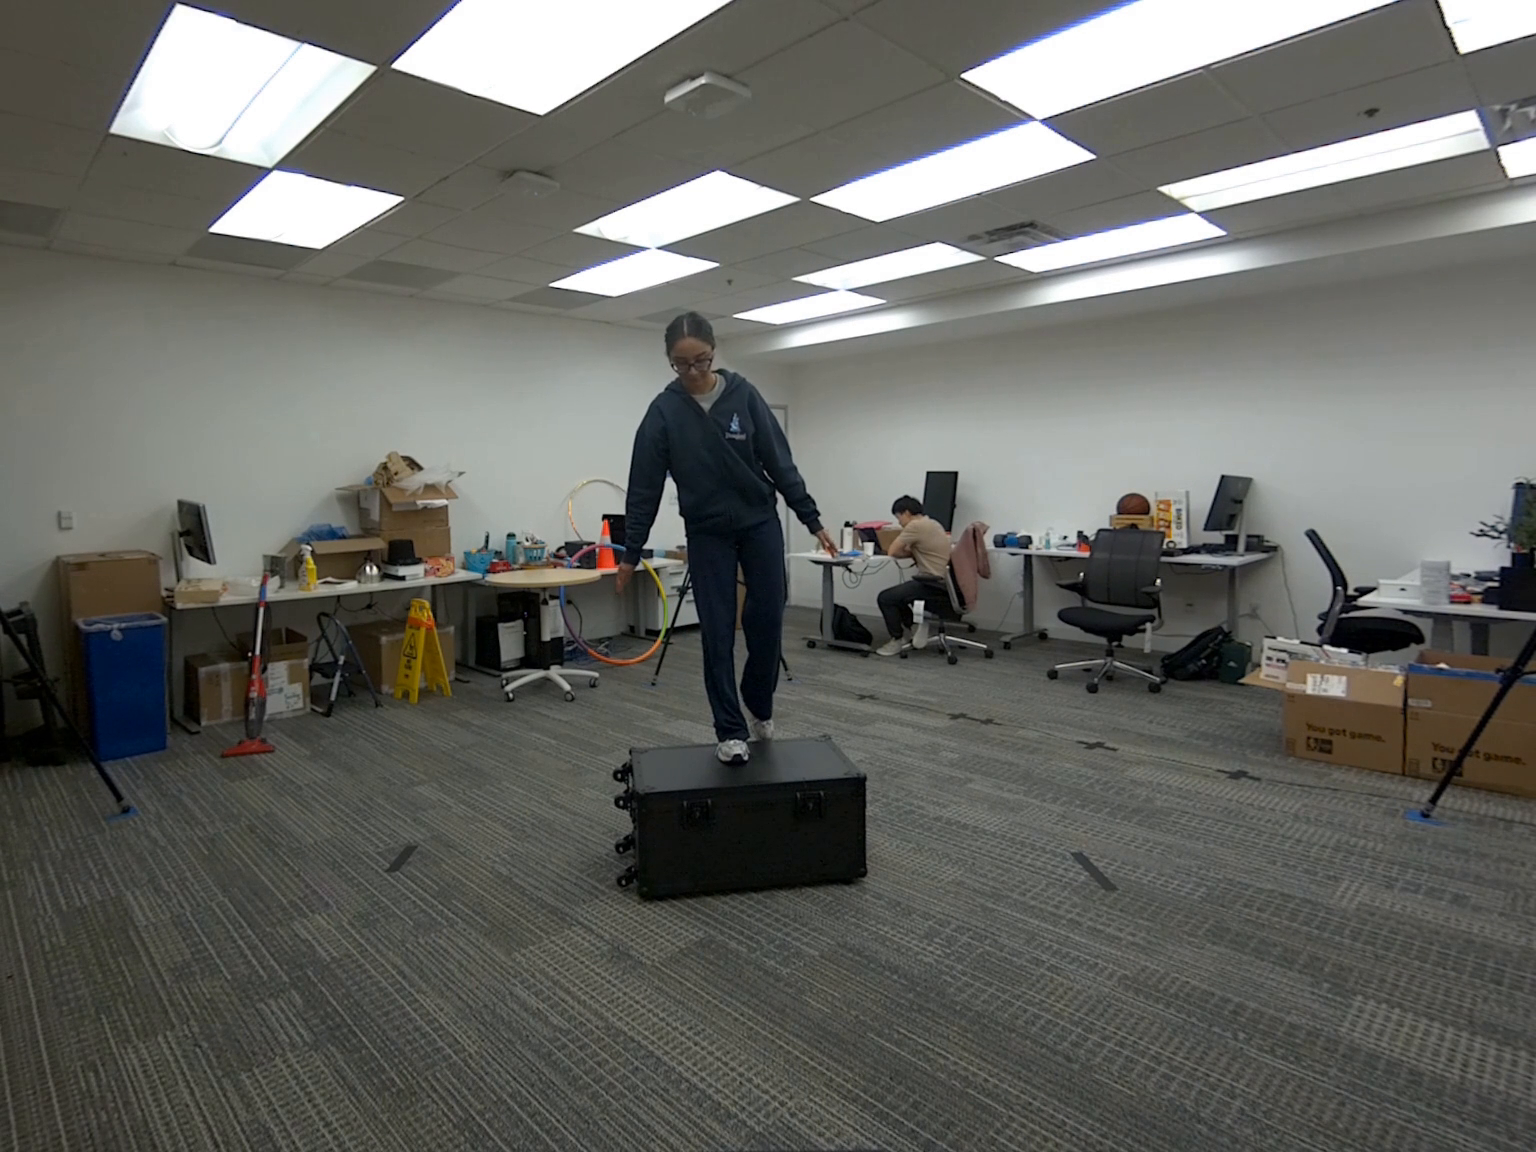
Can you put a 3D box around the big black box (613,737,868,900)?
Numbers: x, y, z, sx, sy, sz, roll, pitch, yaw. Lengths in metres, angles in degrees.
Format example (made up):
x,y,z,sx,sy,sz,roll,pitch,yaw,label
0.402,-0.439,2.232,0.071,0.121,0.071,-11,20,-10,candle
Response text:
x,y,z,sx,sy,sz,roll,pitch,yaw,label
-0.126,0.857,3.094,0.854,0.395,0.528,-2,5,-10,big black box
